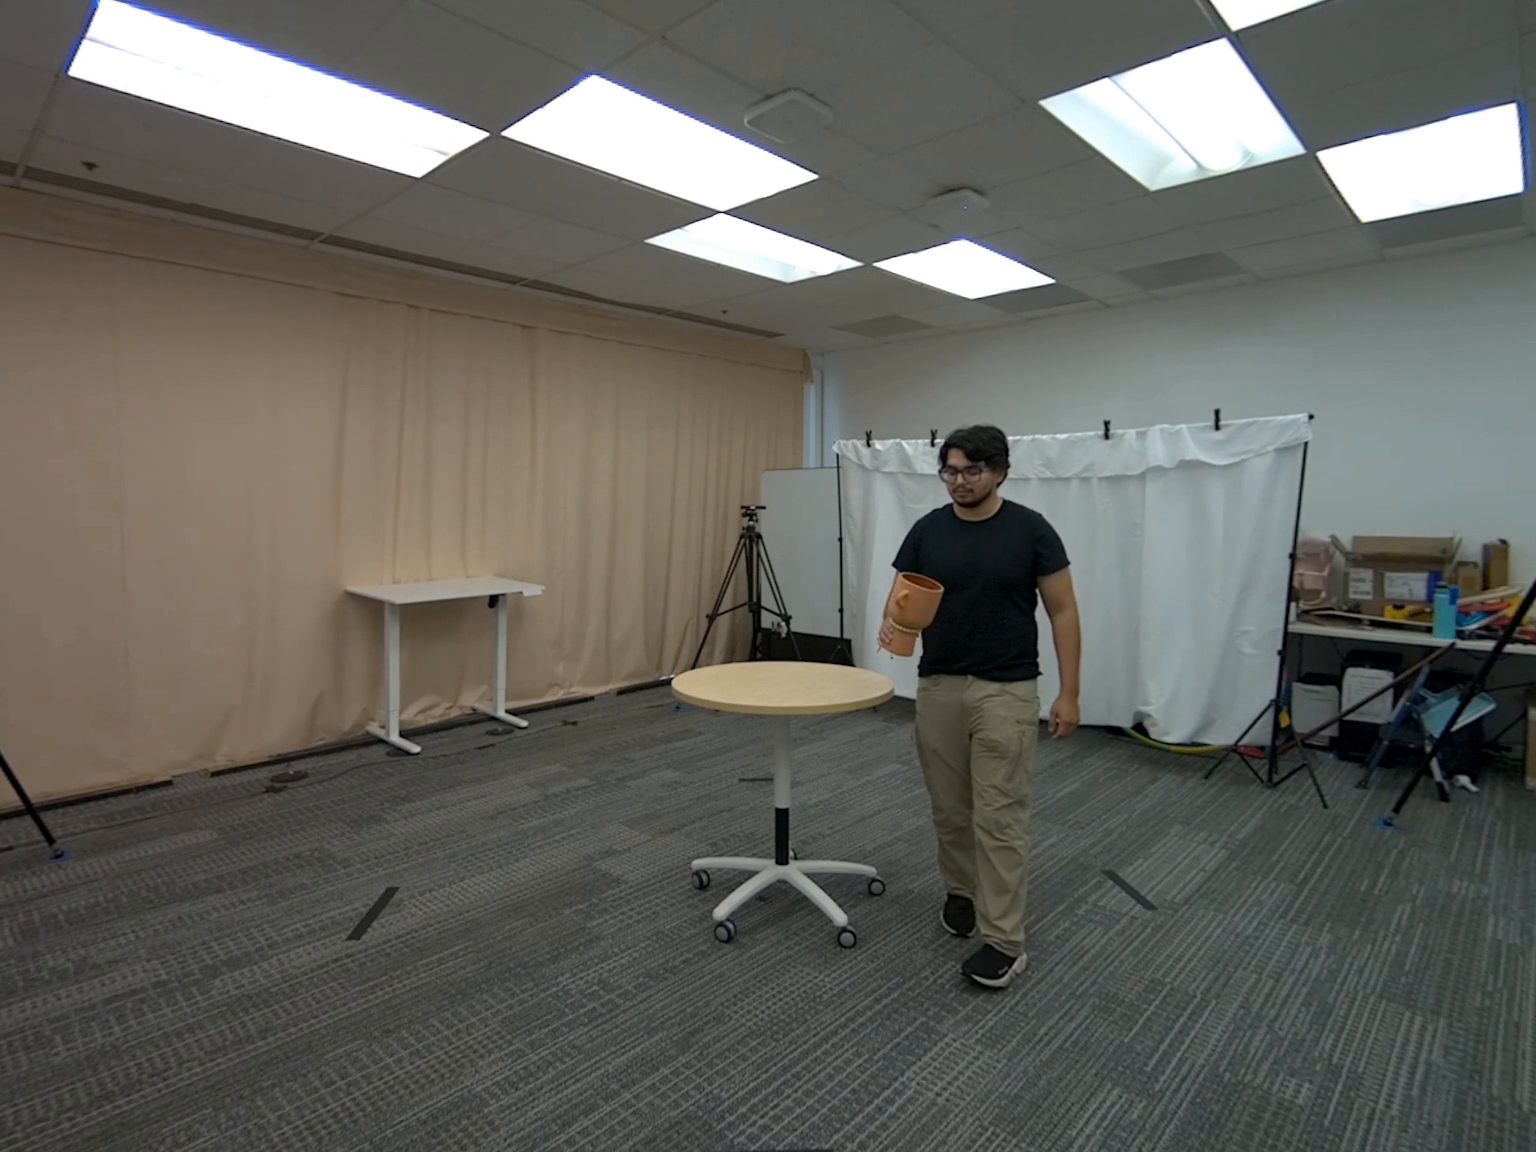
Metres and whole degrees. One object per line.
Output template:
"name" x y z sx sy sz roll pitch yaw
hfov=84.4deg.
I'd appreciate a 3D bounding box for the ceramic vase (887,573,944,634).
"ceramic vase" 0.414 0.115 2.454 0.157 0.218 0.137 11 18 -11
